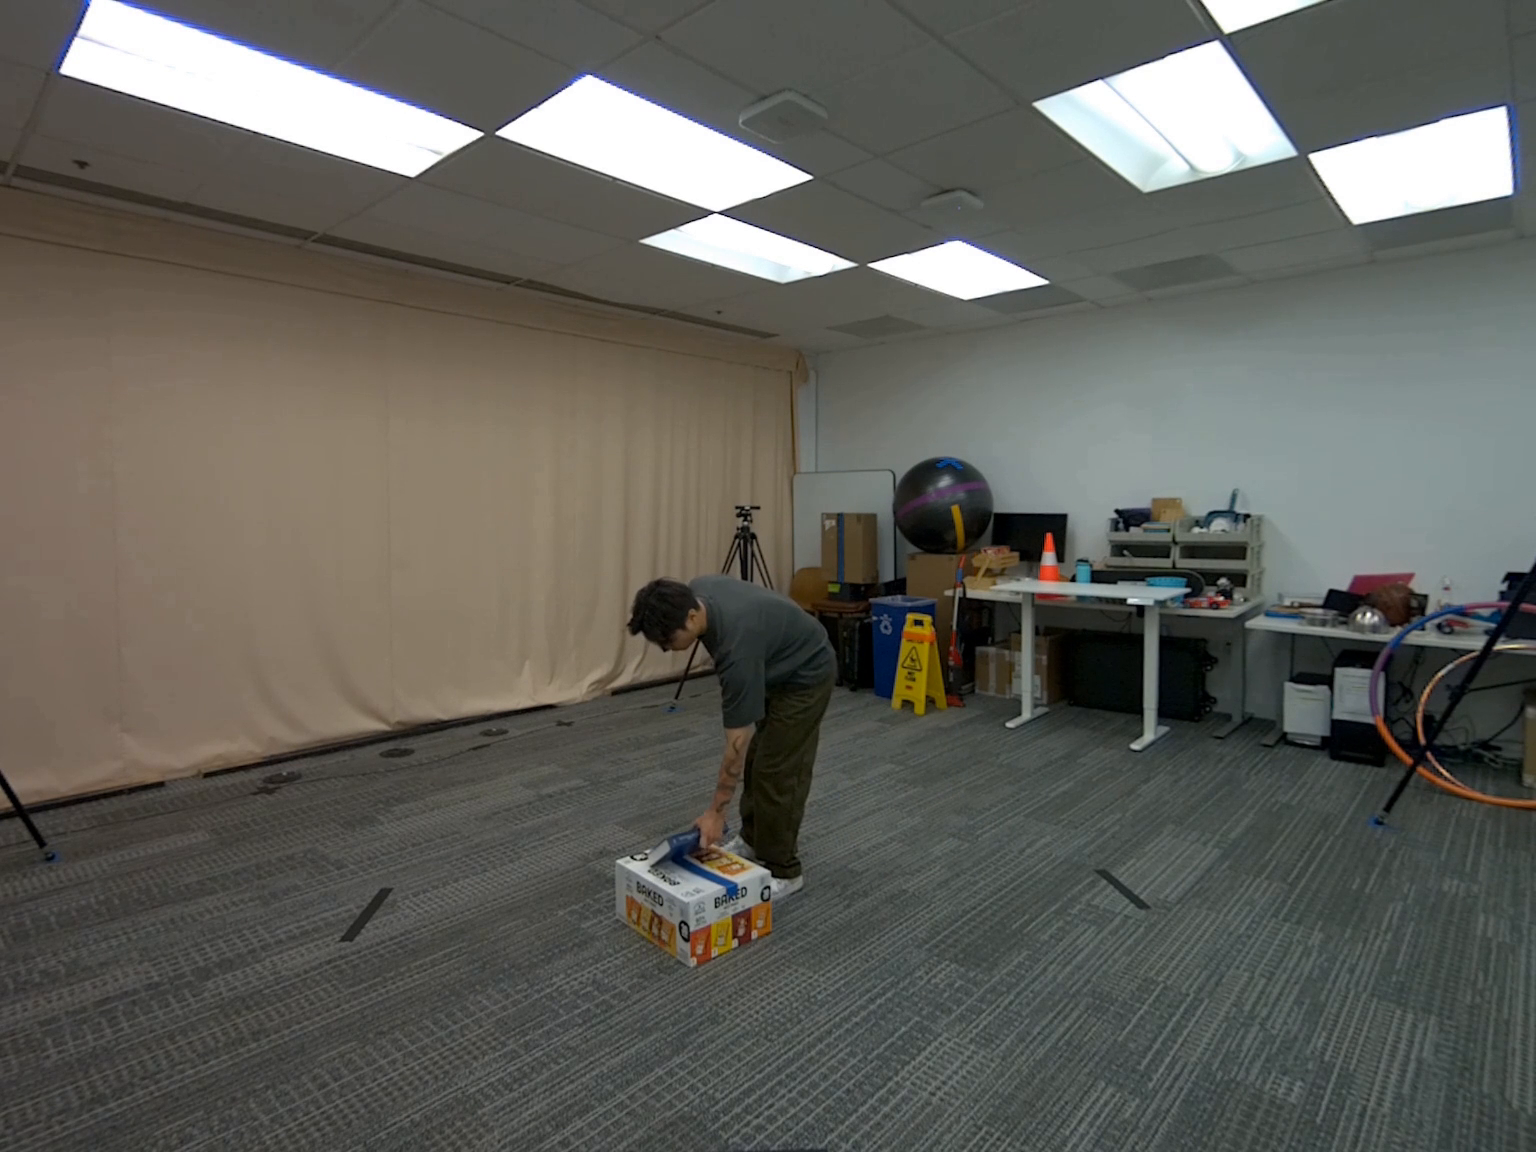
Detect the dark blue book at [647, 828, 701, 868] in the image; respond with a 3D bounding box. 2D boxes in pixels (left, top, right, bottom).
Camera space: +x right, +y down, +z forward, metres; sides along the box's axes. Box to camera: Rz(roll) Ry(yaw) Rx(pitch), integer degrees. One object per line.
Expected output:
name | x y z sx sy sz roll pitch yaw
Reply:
dark blue book | -0.279 0.900 2.823 0.238 0.046 0.164 -5 -33 -41
